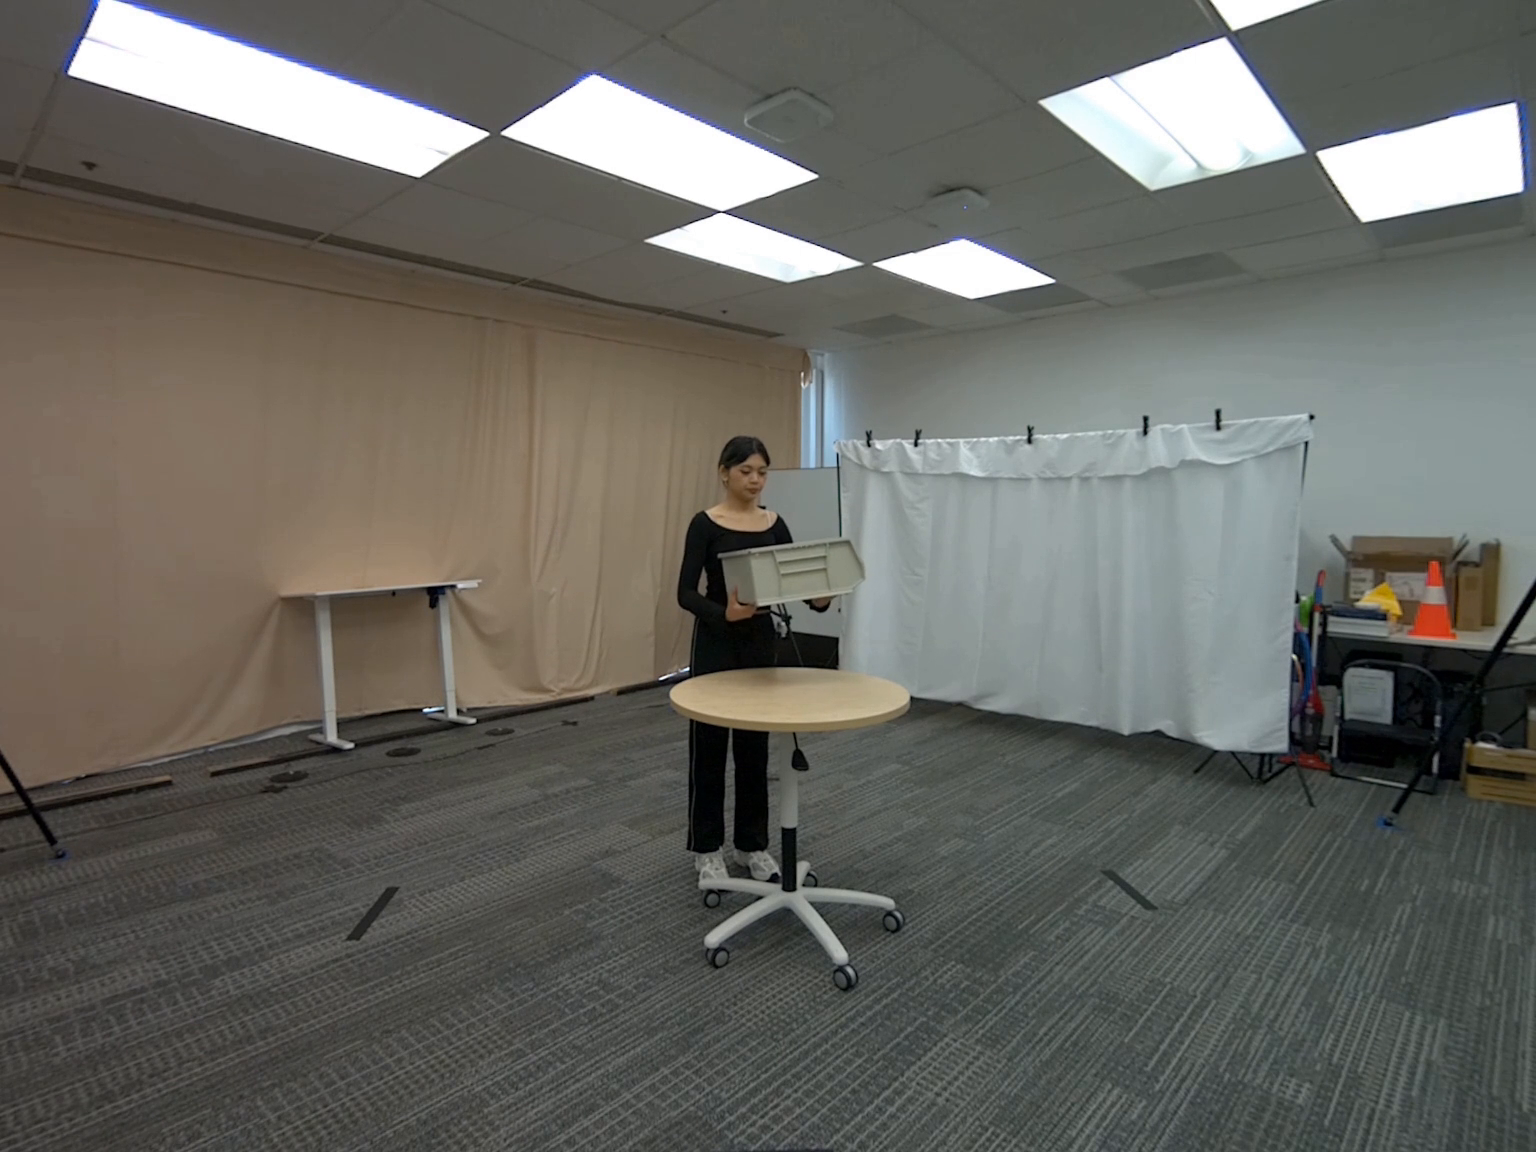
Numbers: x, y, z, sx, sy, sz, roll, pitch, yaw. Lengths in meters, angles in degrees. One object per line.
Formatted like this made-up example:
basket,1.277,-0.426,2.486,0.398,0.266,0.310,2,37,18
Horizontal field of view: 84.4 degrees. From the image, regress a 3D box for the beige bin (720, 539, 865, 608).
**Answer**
beige bin,0.073,-0.005,2.837,0.372,0.189,0.428,-8,0,-14
